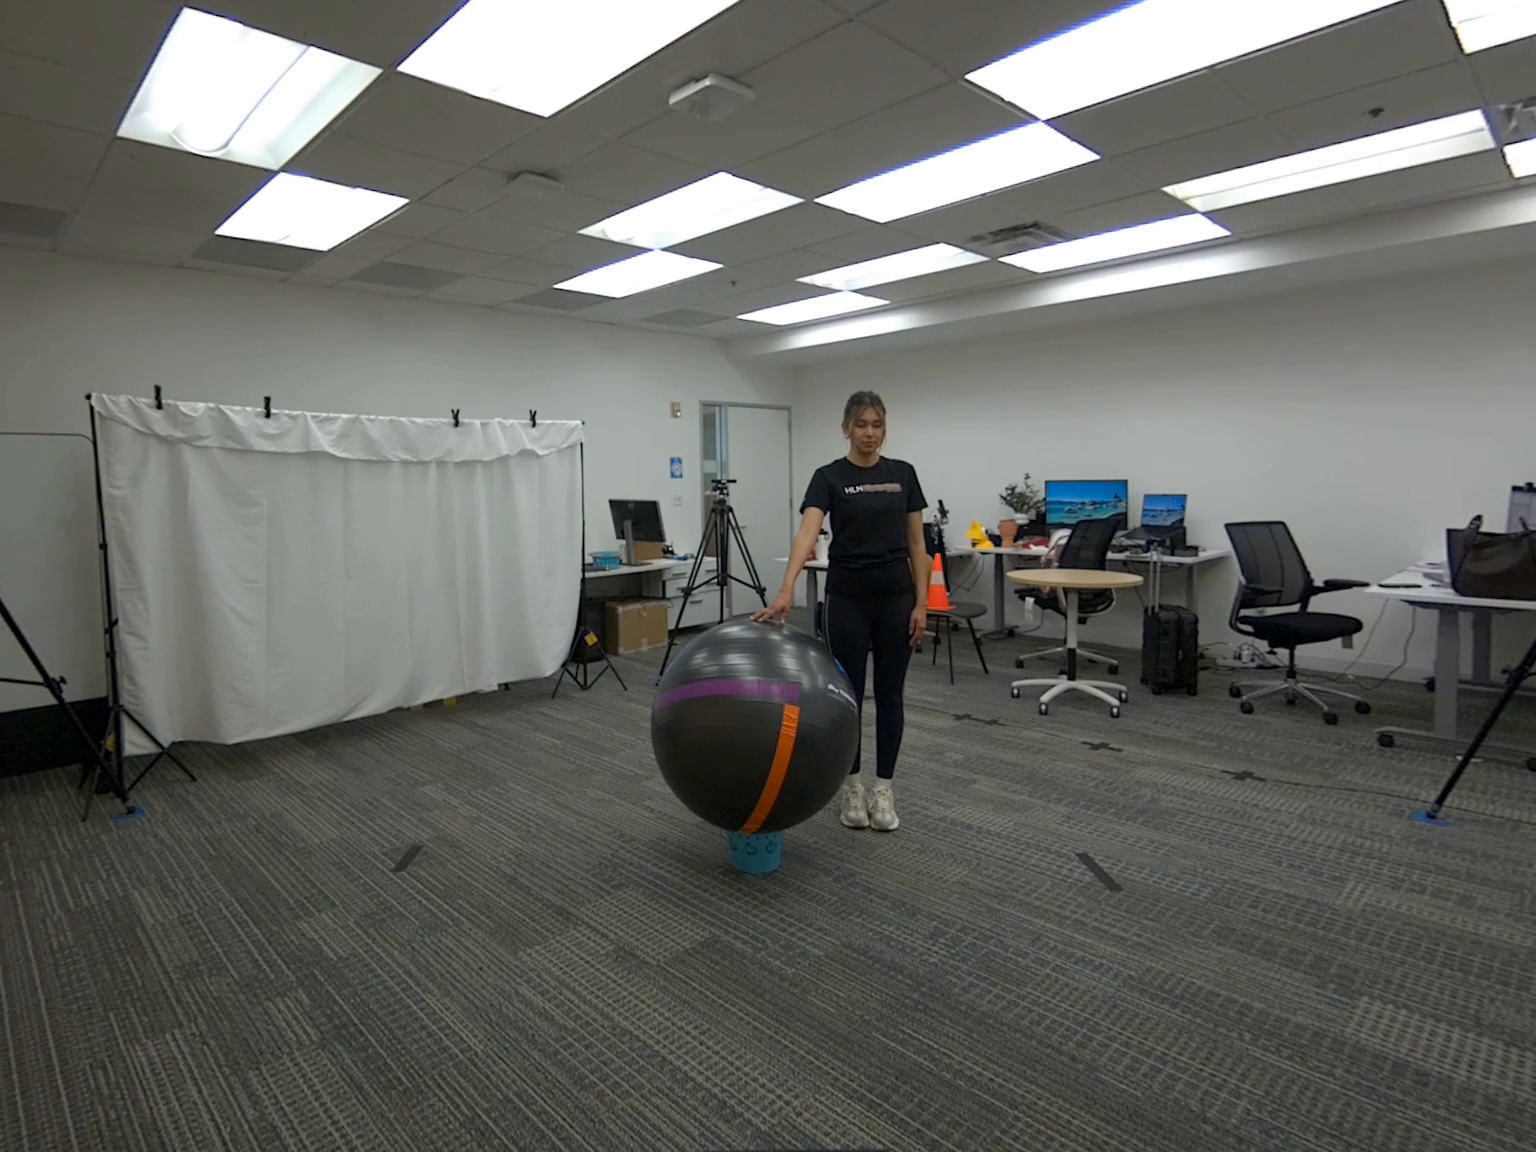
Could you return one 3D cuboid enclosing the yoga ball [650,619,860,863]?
[{"bbox_3d":[-0.047,0.542,3.108,0.757,0.755,0.762,-1,5,-2],"label":"yoga ball"}]
